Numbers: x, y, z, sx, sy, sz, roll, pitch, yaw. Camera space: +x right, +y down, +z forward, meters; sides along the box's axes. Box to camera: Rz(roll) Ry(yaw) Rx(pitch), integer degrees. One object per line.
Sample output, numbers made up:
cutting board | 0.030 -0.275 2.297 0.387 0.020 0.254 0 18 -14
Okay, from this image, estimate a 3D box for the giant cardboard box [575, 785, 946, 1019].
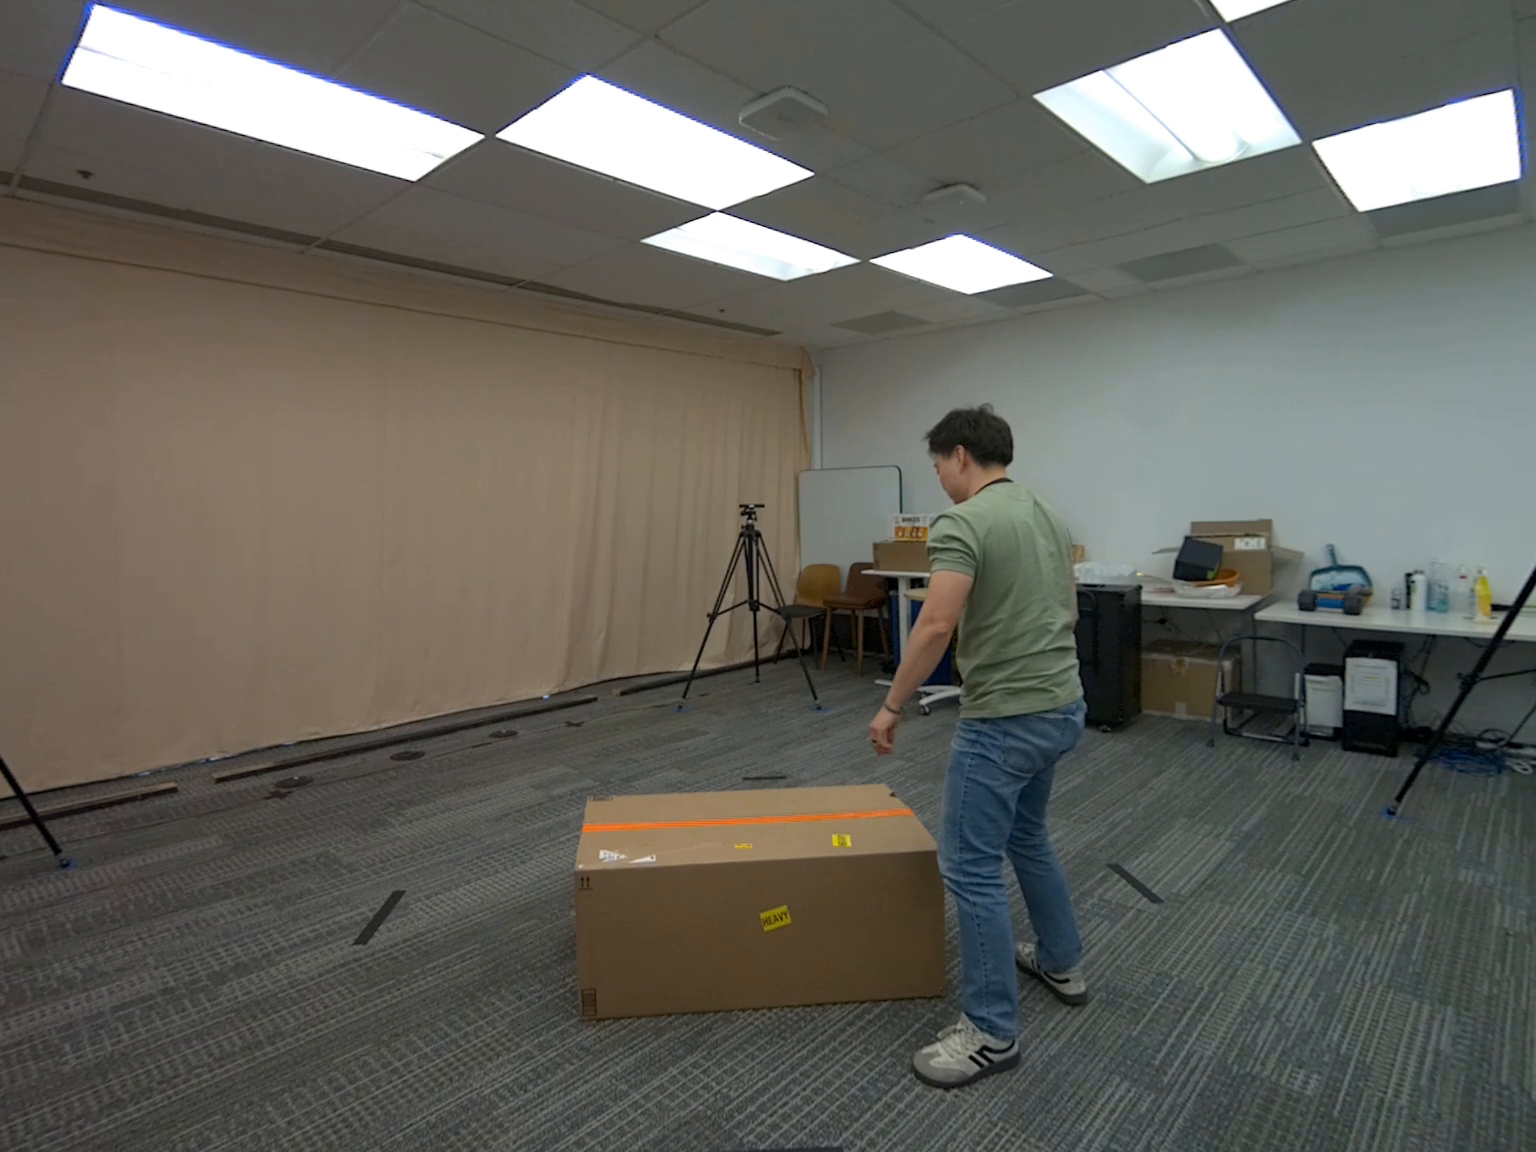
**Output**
giant cardboard box | -0.056 0.959 2.594 1.020 0.425 0.582 -1 5 -5
